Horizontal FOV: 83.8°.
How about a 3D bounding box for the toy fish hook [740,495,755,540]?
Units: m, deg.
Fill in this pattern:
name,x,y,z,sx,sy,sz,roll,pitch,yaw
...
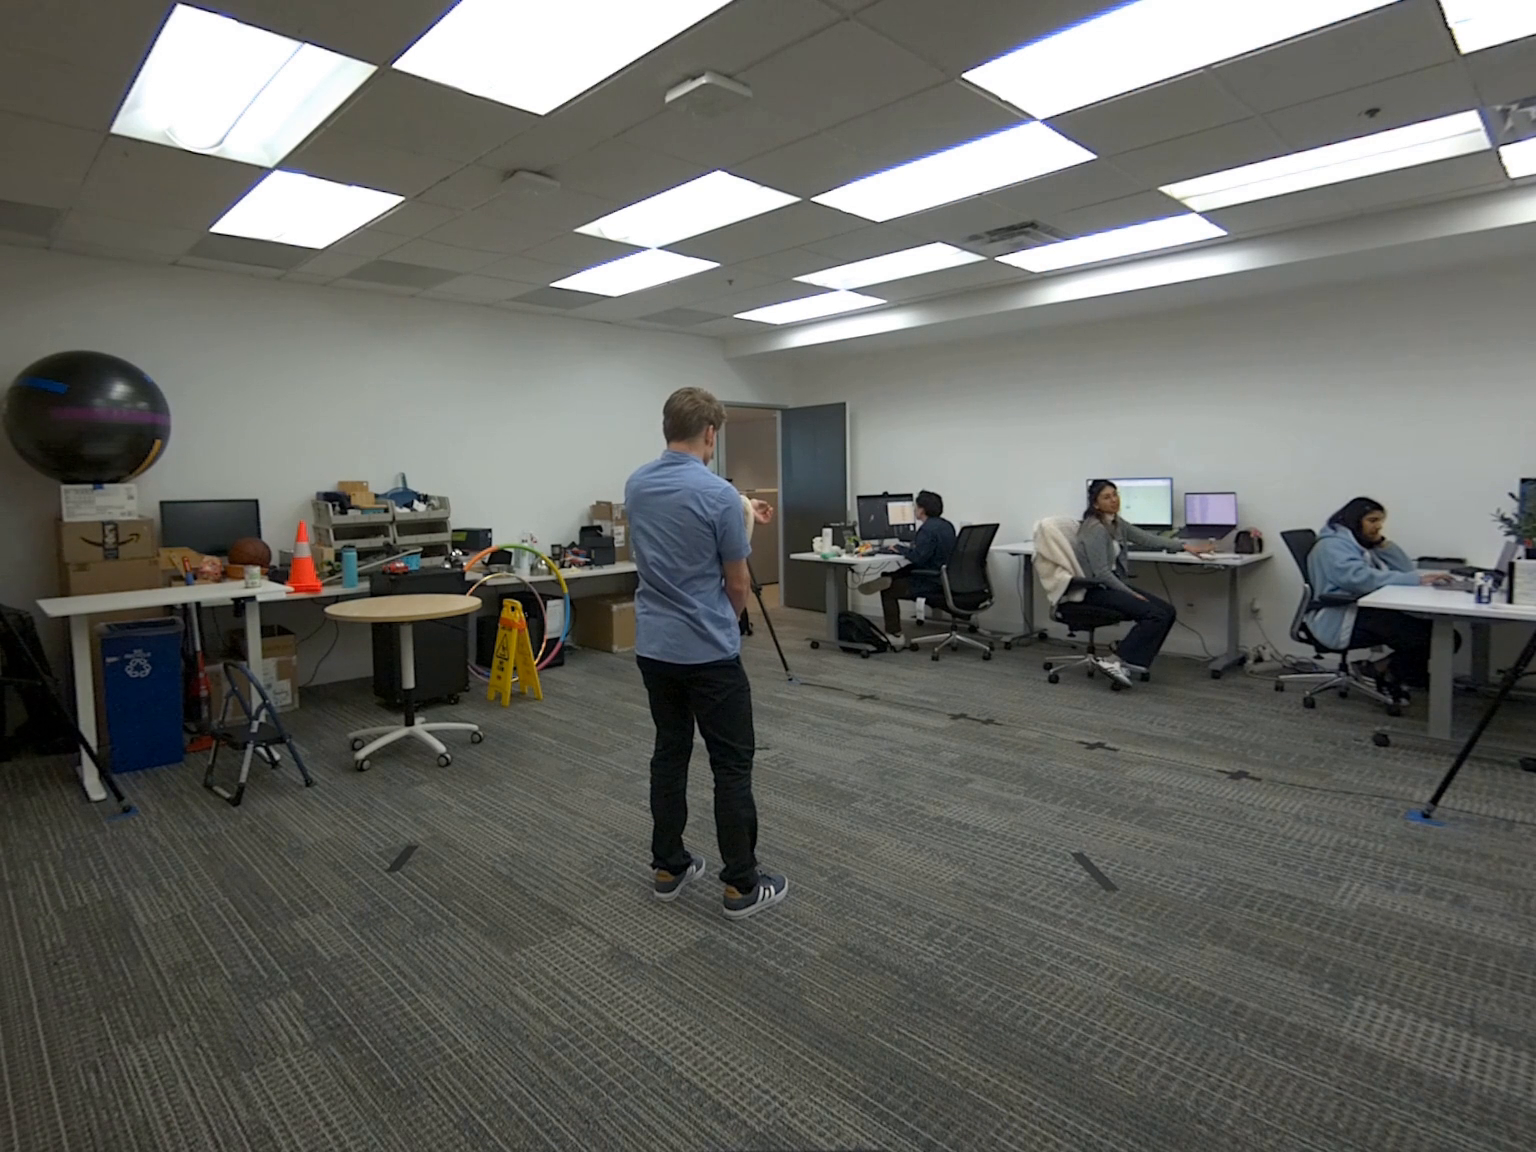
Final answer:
name,x,y,z,sx,sy,sz,roll,pitch,yaw
toy fish hook,-0.148,-0.052,3.168,0.047,0.507,0.231,11,-2,-36
